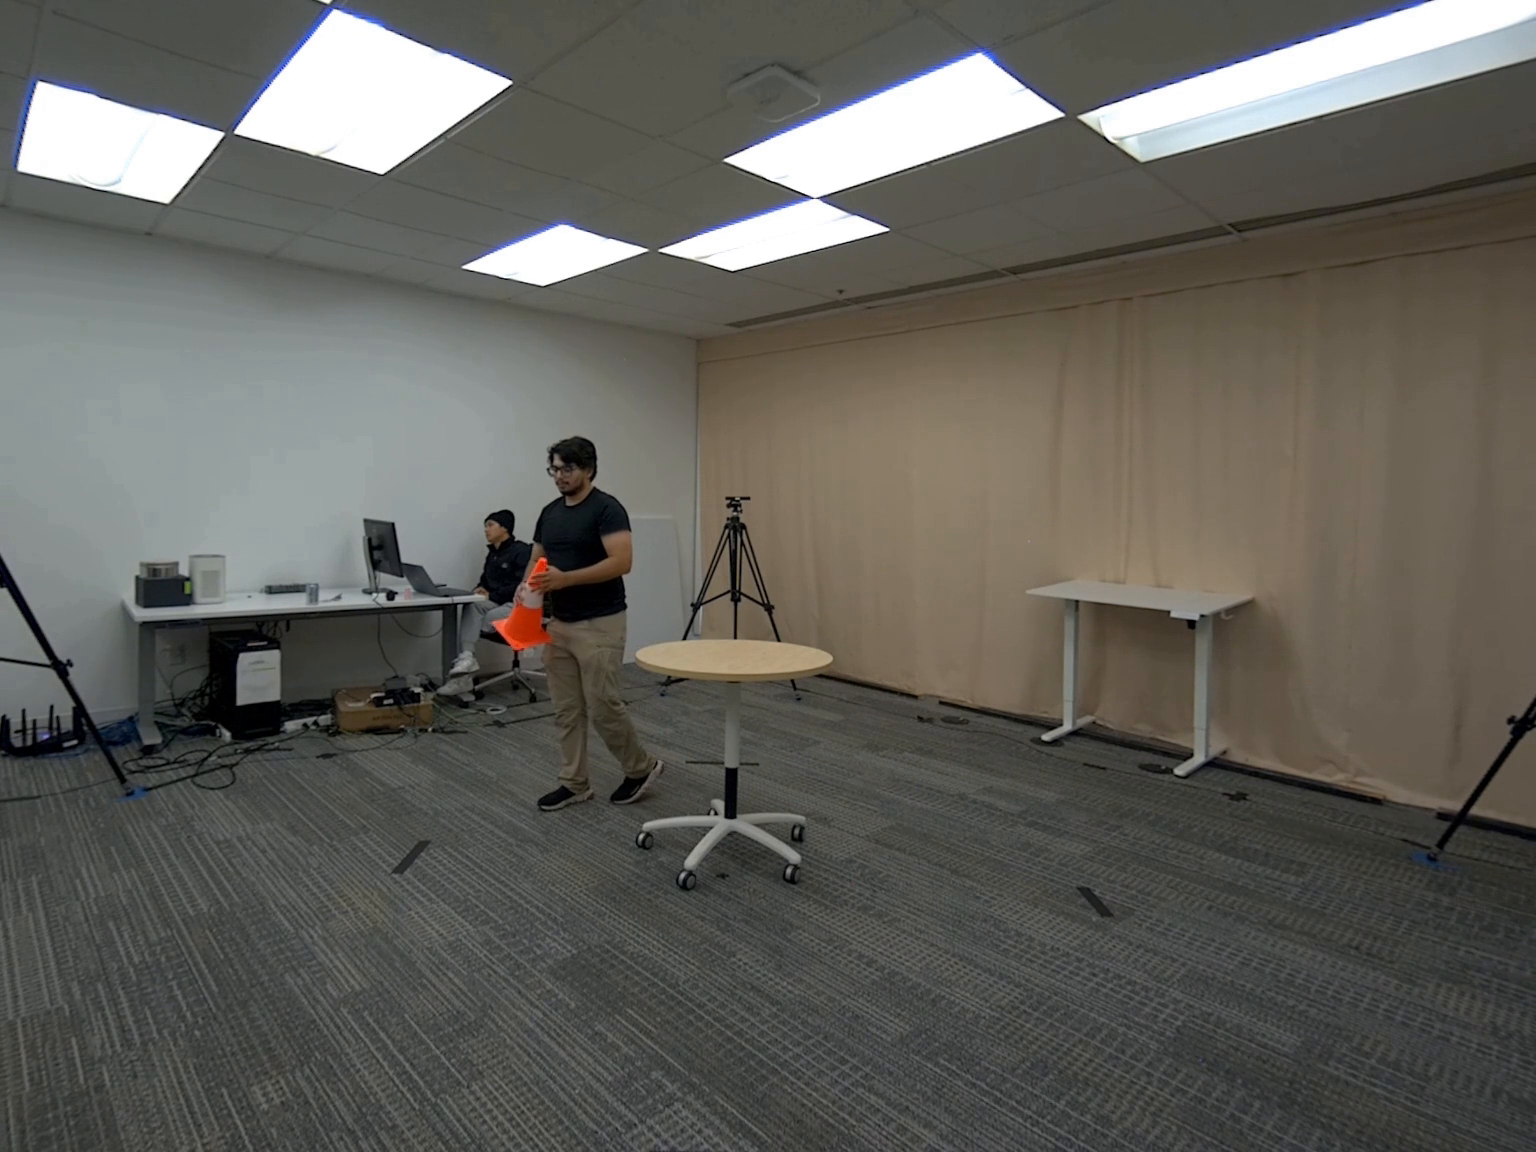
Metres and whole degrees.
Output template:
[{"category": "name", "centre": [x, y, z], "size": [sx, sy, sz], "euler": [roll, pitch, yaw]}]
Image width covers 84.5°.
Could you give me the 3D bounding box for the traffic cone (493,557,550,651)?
[{"category": "traffic cone", "centre": [-1.023, 0.091, 3.581], "size": [0.209, 0.380, 0.201], "euler": [35, 28, 27]}]
